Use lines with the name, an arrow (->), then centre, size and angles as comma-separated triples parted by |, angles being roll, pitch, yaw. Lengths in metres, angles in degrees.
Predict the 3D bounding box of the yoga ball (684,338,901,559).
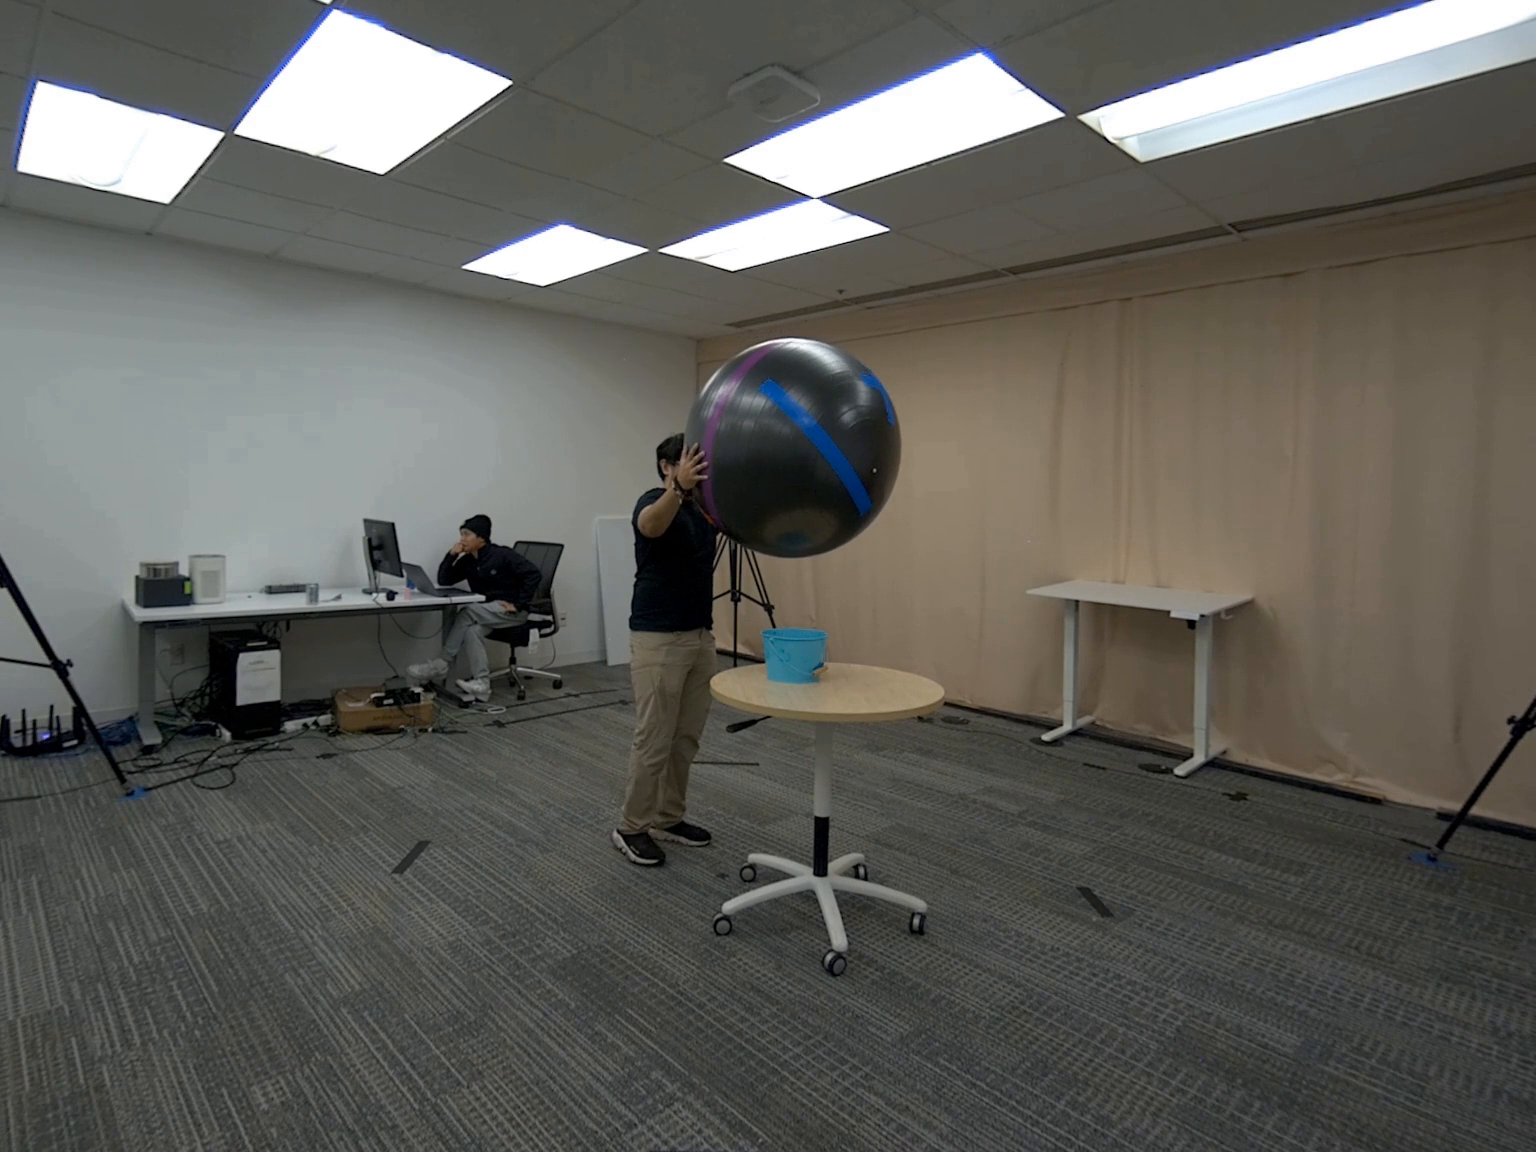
yoga ball -> 0.081, -0.436, 2.945 | 0.757, 0.756, 0.761 | 1, 4, -1
